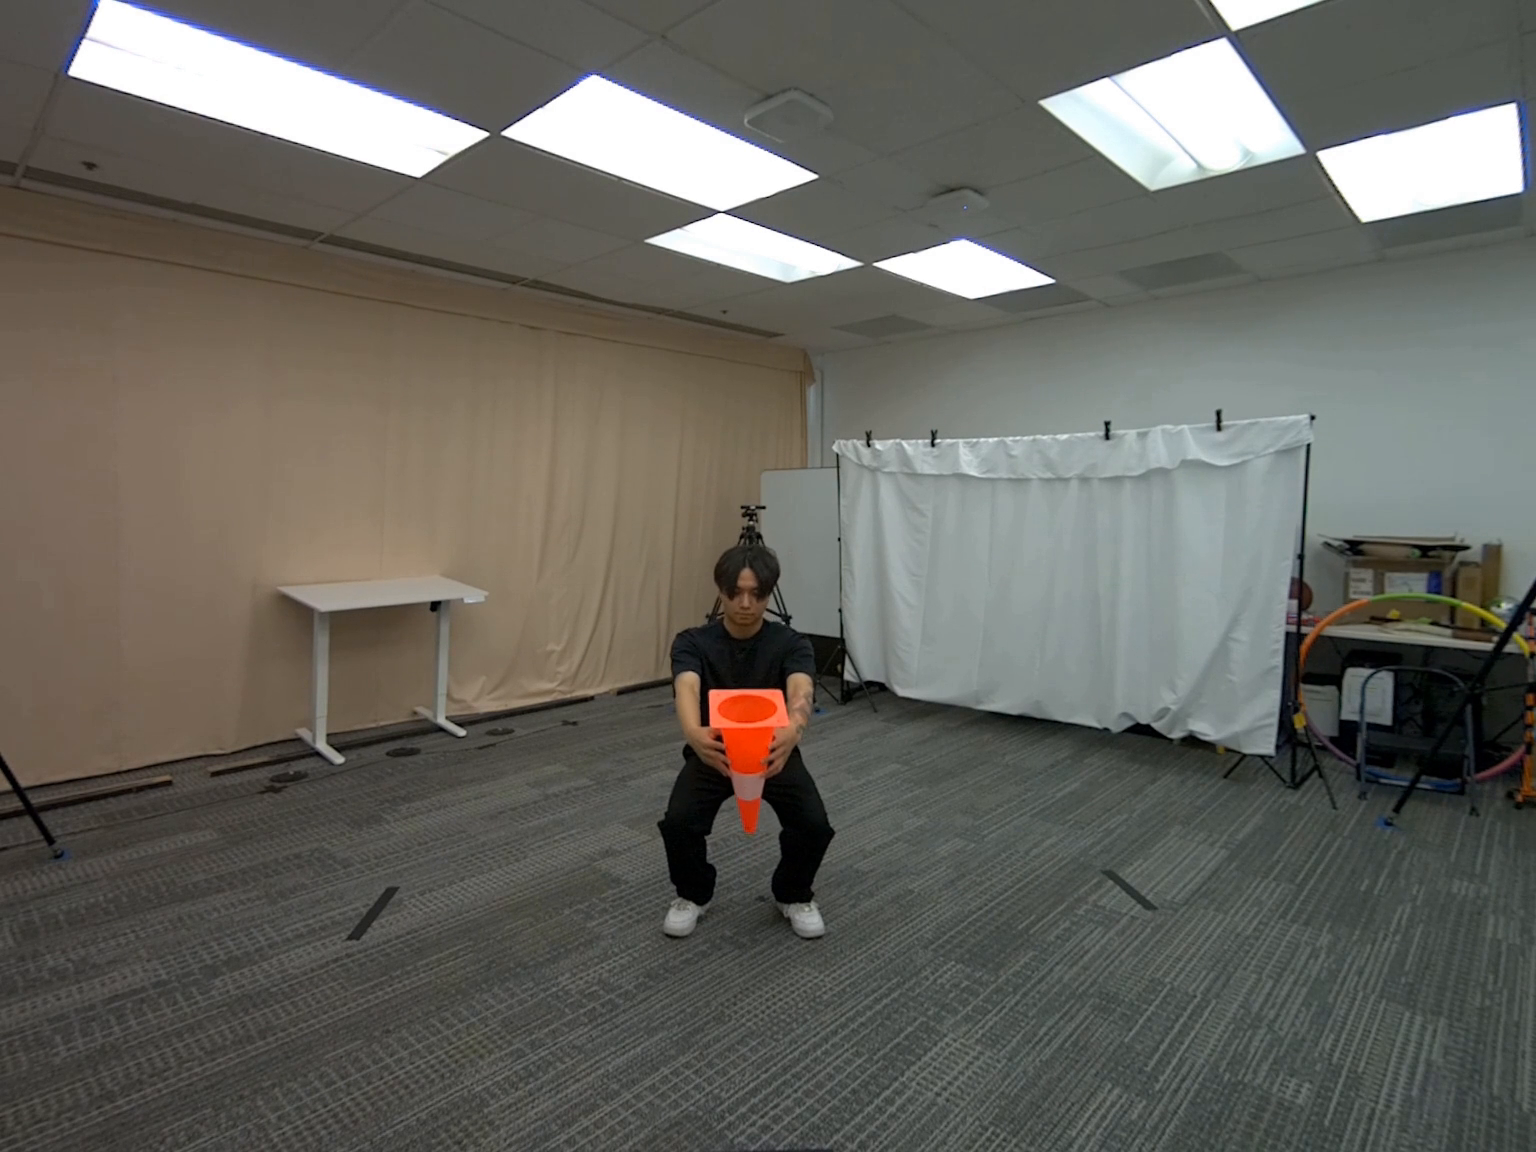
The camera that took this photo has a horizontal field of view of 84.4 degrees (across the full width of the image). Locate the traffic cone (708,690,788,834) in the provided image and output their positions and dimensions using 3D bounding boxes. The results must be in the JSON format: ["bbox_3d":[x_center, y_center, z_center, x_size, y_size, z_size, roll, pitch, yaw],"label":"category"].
[{"bbox_3d":[-0.055,0.521,2.249,0.204,0.379,0.206,1,18,-3],"label":"traffic cone"}]
